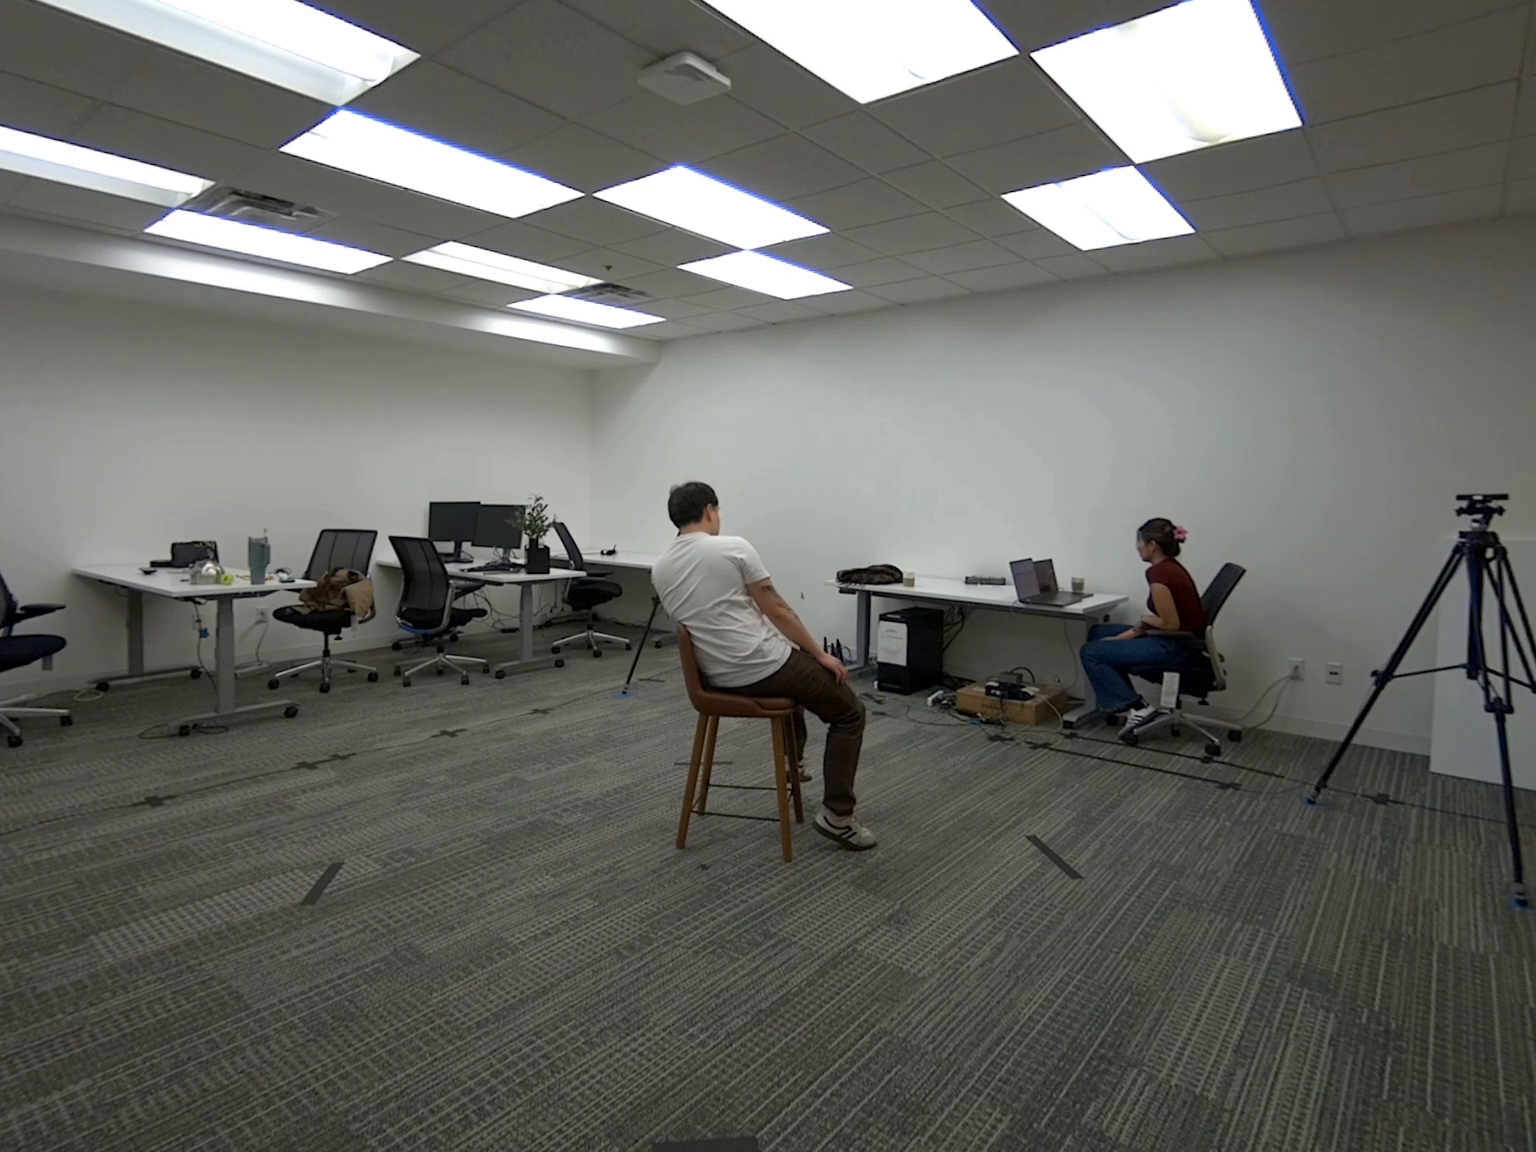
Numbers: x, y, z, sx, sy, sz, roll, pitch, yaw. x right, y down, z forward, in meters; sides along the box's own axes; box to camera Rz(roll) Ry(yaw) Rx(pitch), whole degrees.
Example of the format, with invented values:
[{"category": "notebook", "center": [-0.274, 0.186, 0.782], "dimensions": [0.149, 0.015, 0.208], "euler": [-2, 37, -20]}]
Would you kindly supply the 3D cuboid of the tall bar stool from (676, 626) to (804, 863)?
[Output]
[{"category": "tall bar stool", "center": [-0.113, 0.608, 3.395], "dimensions": [0.473, 0.888, 0.452], "euler": [-1, 2, 11]}]
